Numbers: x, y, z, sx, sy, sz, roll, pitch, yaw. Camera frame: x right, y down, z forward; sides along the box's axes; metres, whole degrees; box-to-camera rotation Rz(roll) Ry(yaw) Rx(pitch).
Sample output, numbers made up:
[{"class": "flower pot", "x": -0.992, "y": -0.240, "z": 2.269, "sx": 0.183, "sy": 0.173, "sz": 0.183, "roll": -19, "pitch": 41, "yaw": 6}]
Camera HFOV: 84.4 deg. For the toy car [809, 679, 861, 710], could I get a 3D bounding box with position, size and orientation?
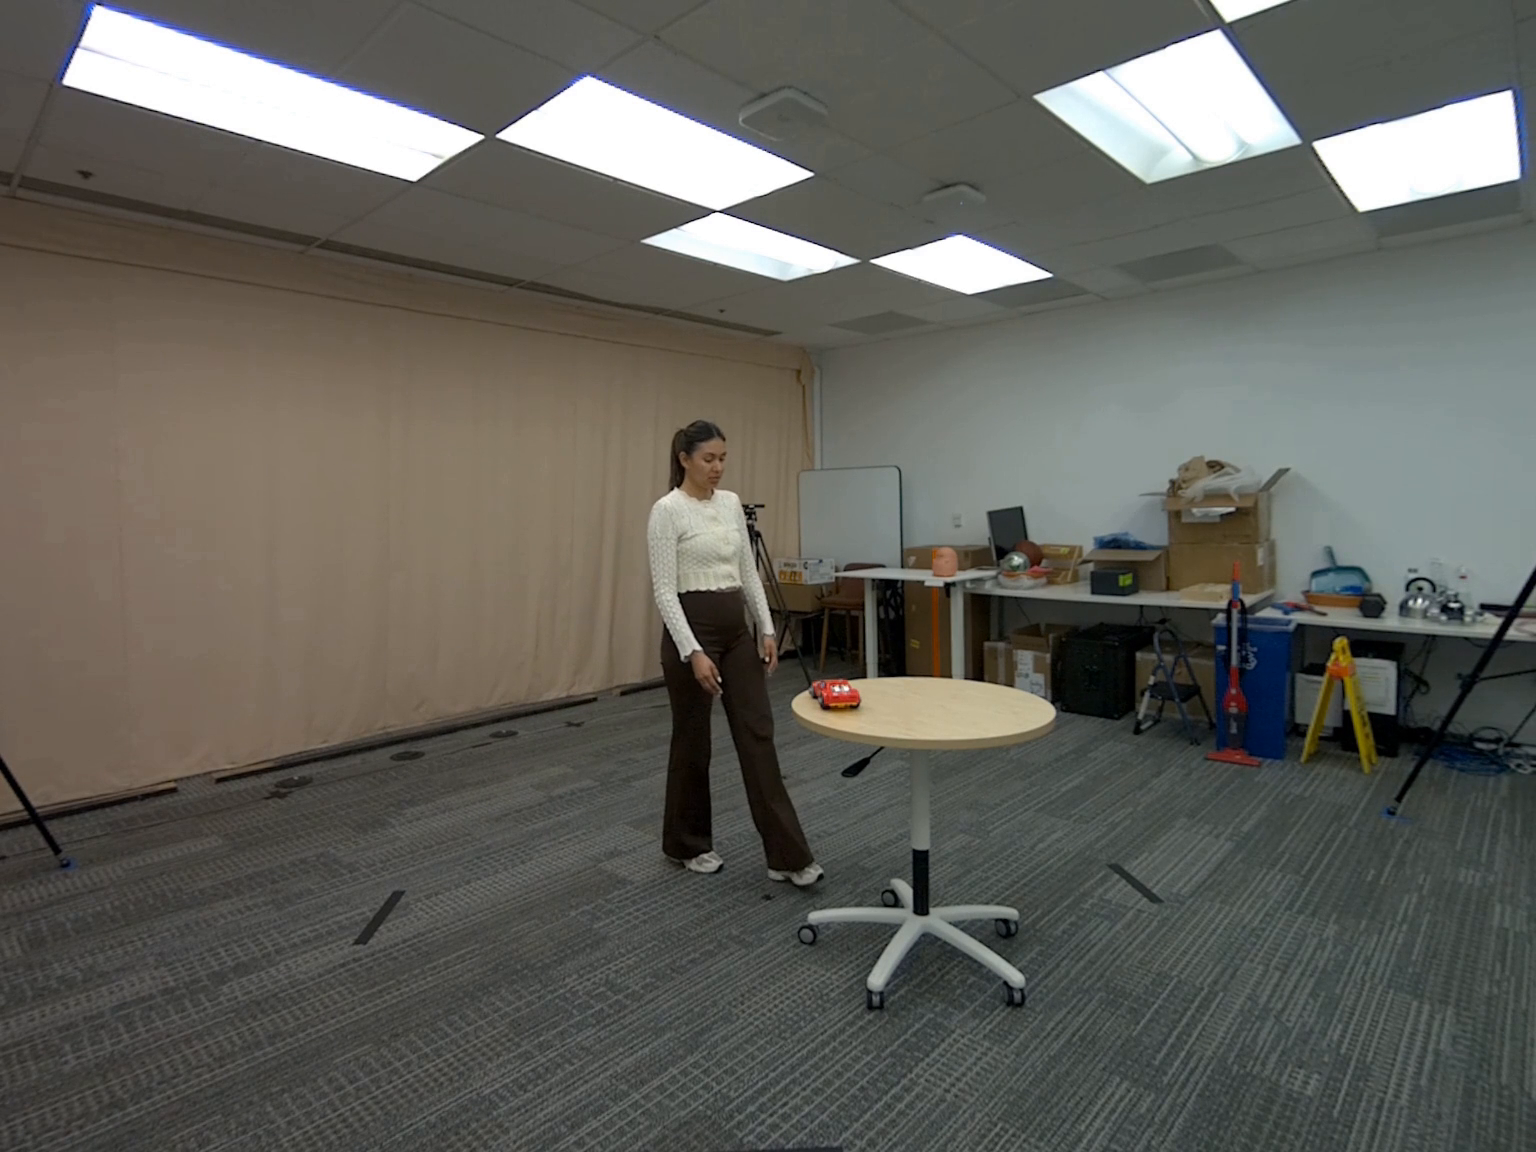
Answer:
[{"class": "toy car", "x": 0.211, "y": 0.359, "z": 2.538, "sx": 0.130, "sy": 0.084, "sz": 0.254, "roll": -2, "pitch": -8, "yaw": -5}]
